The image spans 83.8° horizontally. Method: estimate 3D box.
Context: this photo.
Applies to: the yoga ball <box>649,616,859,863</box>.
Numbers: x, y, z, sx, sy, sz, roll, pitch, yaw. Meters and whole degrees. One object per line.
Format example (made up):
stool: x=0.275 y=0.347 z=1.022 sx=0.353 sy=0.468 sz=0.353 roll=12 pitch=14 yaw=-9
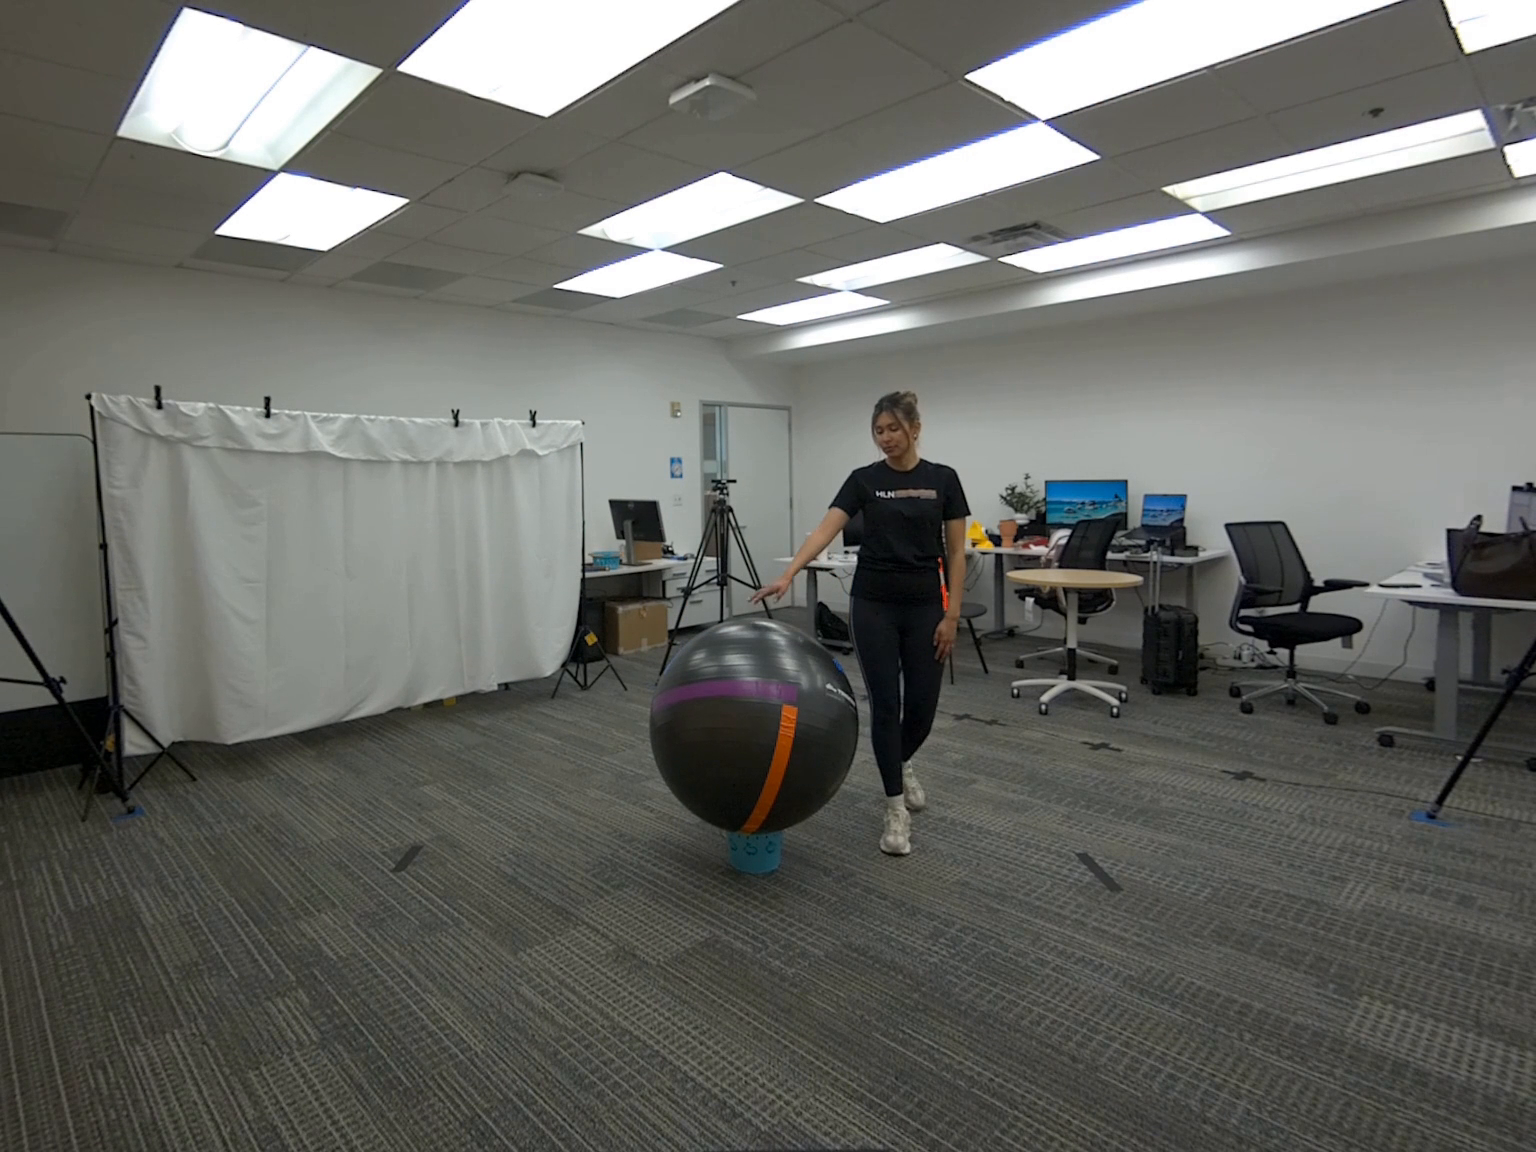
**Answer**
yoga ball: x=-0.053 y=0.539 z=3.104 sx=0.757 sy=0.755 sz=0.762 roll=-1 pitch=5 yaw=-2
